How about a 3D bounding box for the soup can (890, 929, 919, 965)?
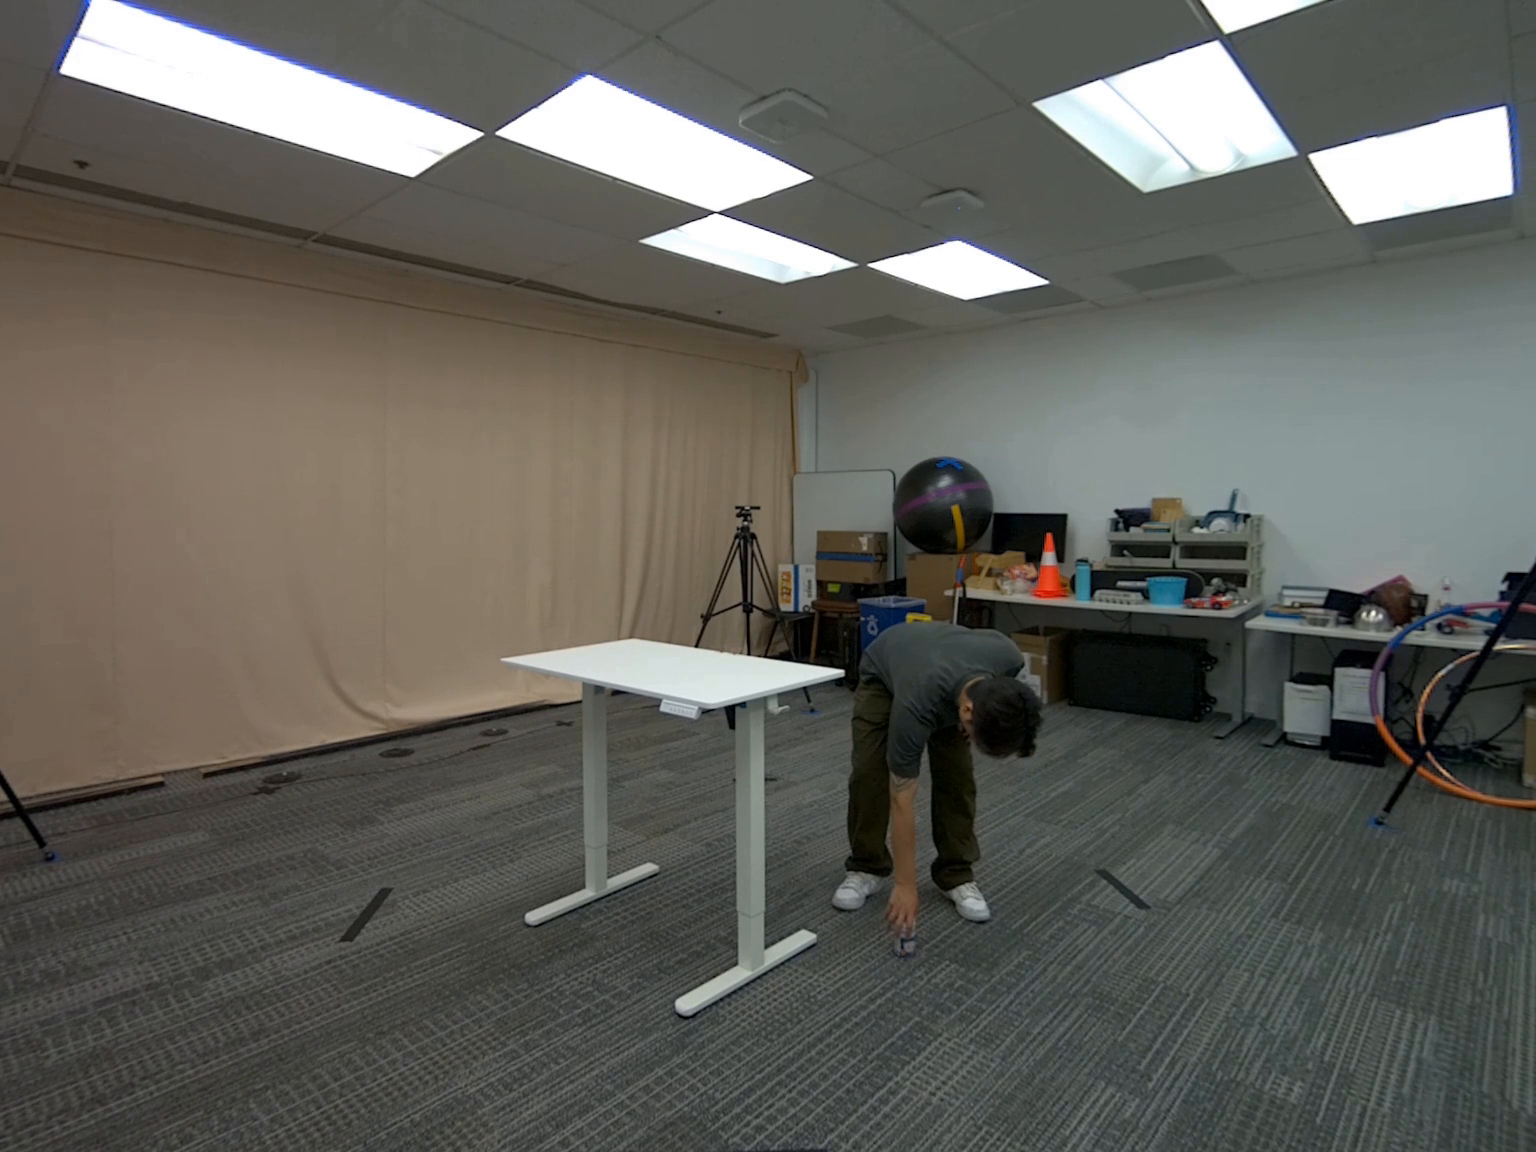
[{"bbox_3d":[0.422,1.111,2.617,0.067,0.121,0.067,1,2,-2],"label":"soup can"}]
